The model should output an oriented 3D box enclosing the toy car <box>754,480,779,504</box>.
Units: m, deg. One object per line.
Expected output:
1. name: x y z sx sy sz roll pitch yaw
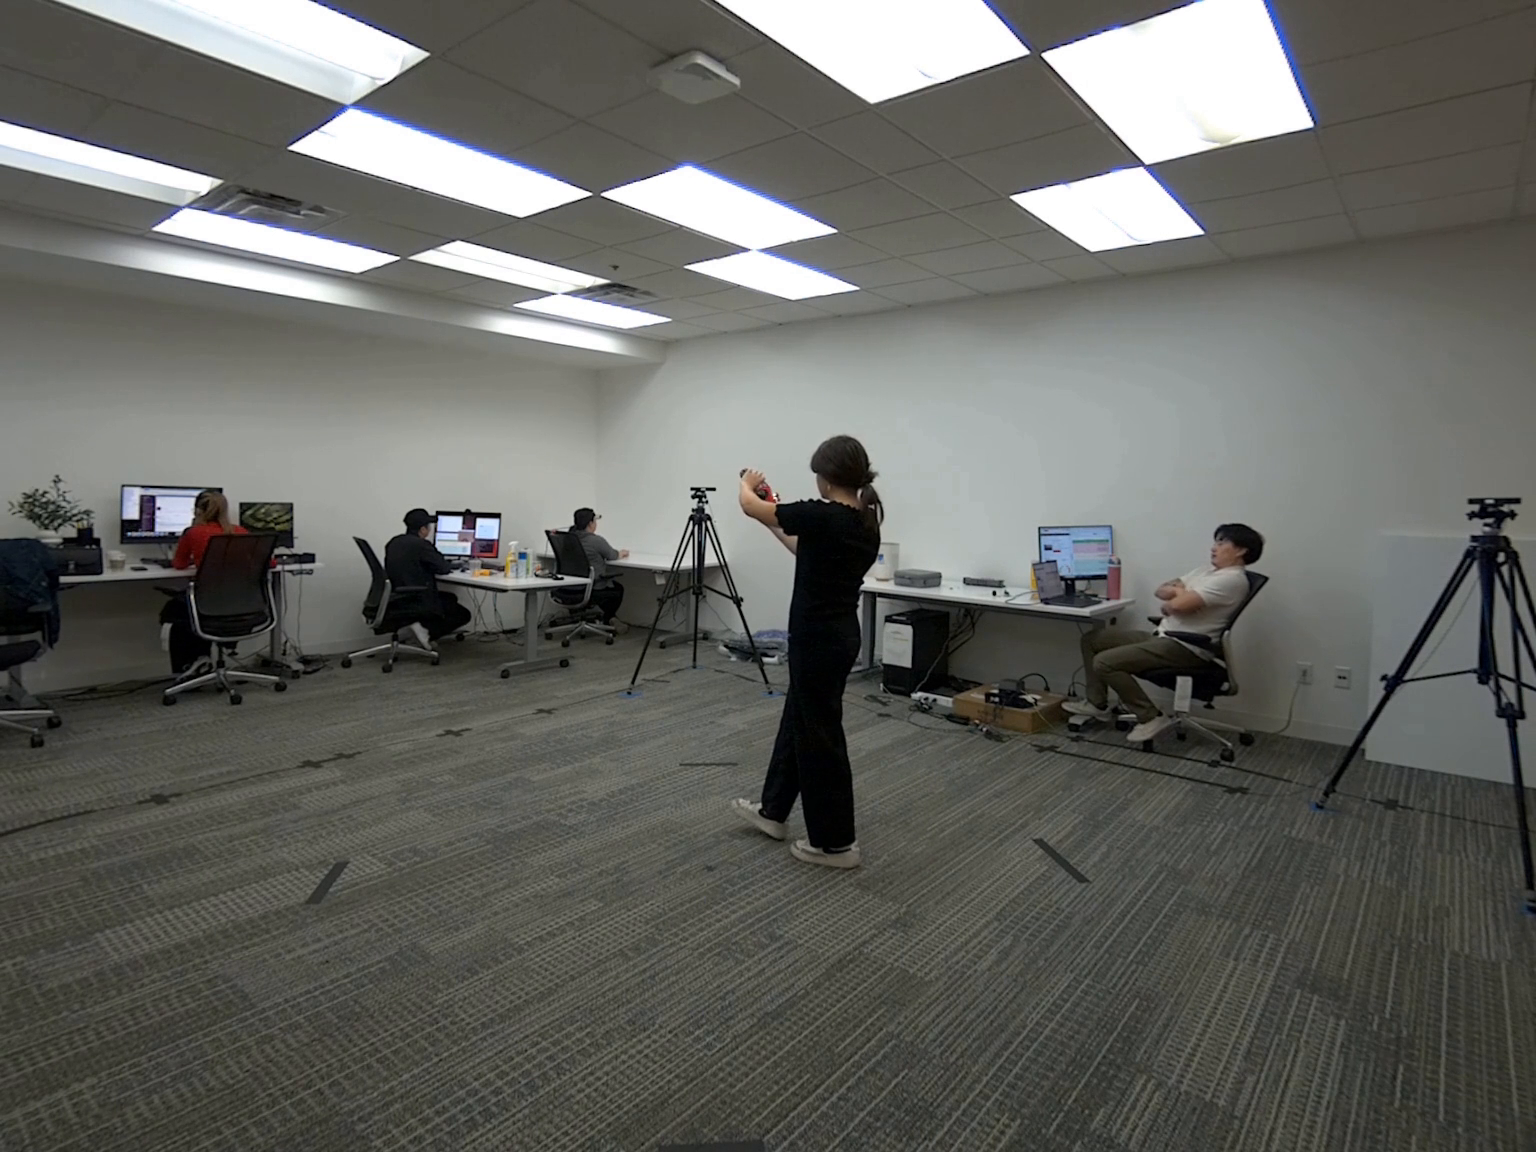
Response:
1. toy car: -0.042 -0.342 3.488 0.083 0.125 0.265 -38 53 -11
